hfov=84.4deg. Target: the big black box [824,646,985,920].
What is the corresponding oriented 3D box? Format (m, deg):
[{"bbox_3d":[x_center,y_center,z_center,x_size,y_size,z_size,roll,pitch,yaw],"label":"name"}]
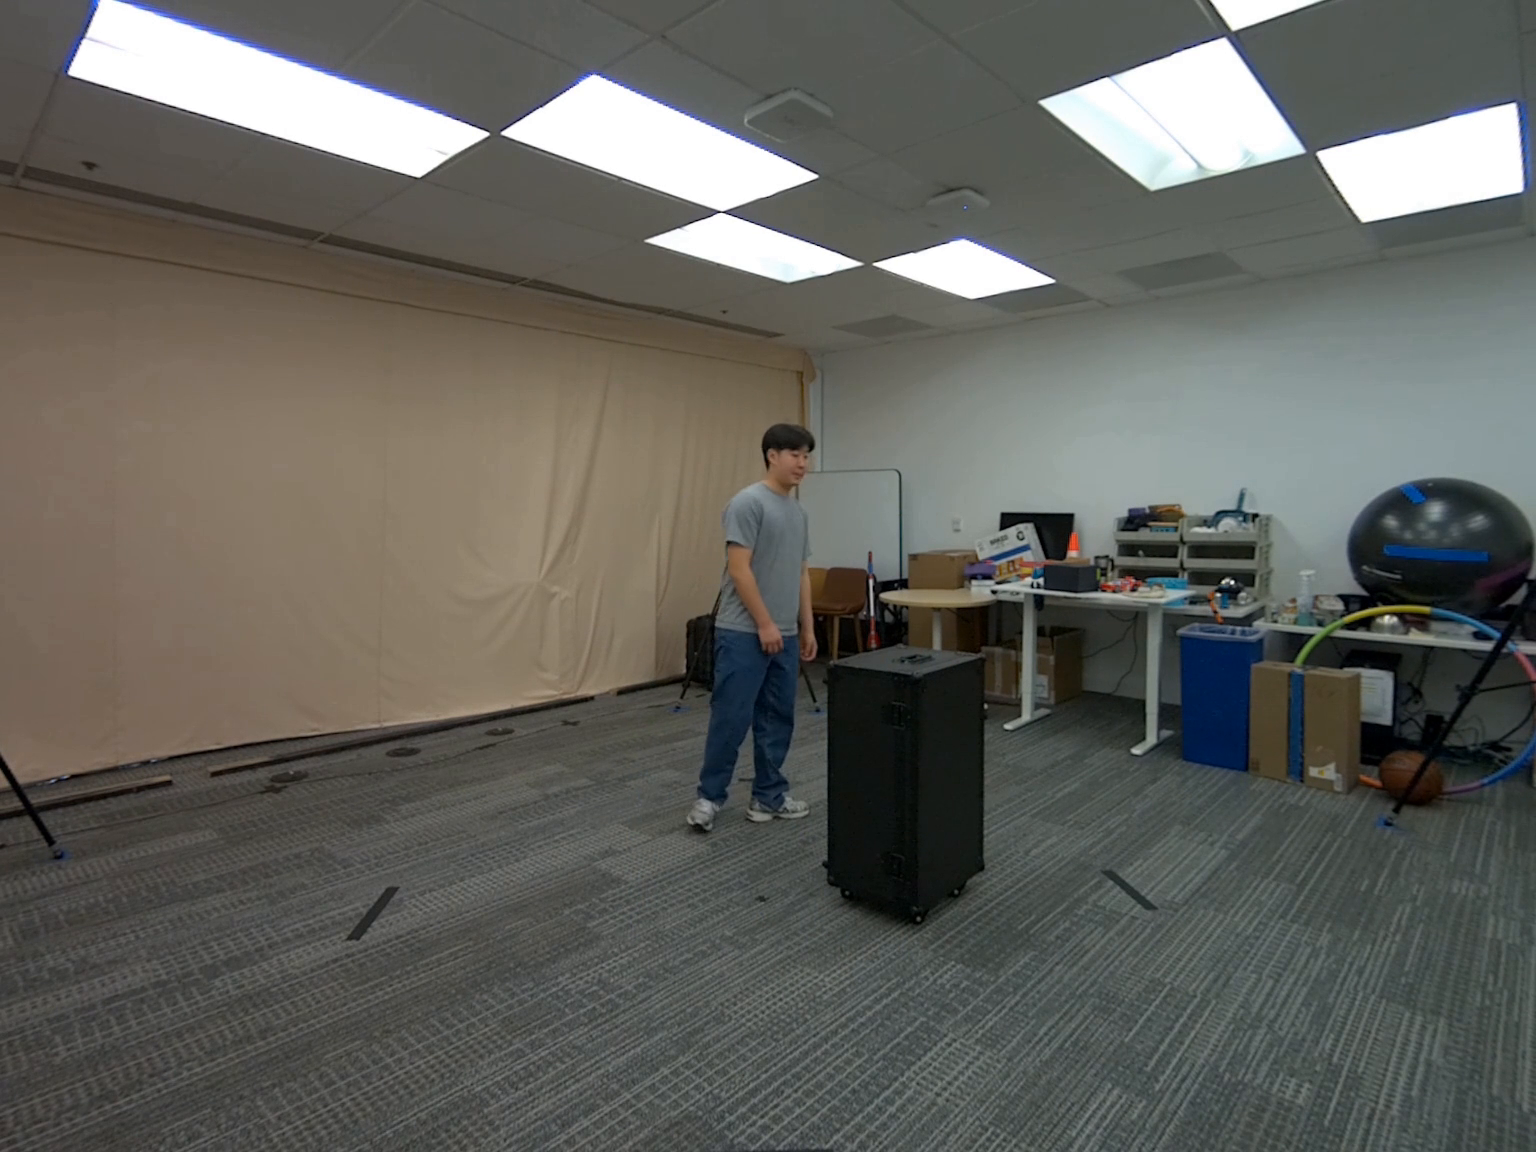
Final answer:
[{"bbox_3d":[0.490,0.715,2.983,0.409,0.860,0.505,1,3,41],"label":"big black box"}]
